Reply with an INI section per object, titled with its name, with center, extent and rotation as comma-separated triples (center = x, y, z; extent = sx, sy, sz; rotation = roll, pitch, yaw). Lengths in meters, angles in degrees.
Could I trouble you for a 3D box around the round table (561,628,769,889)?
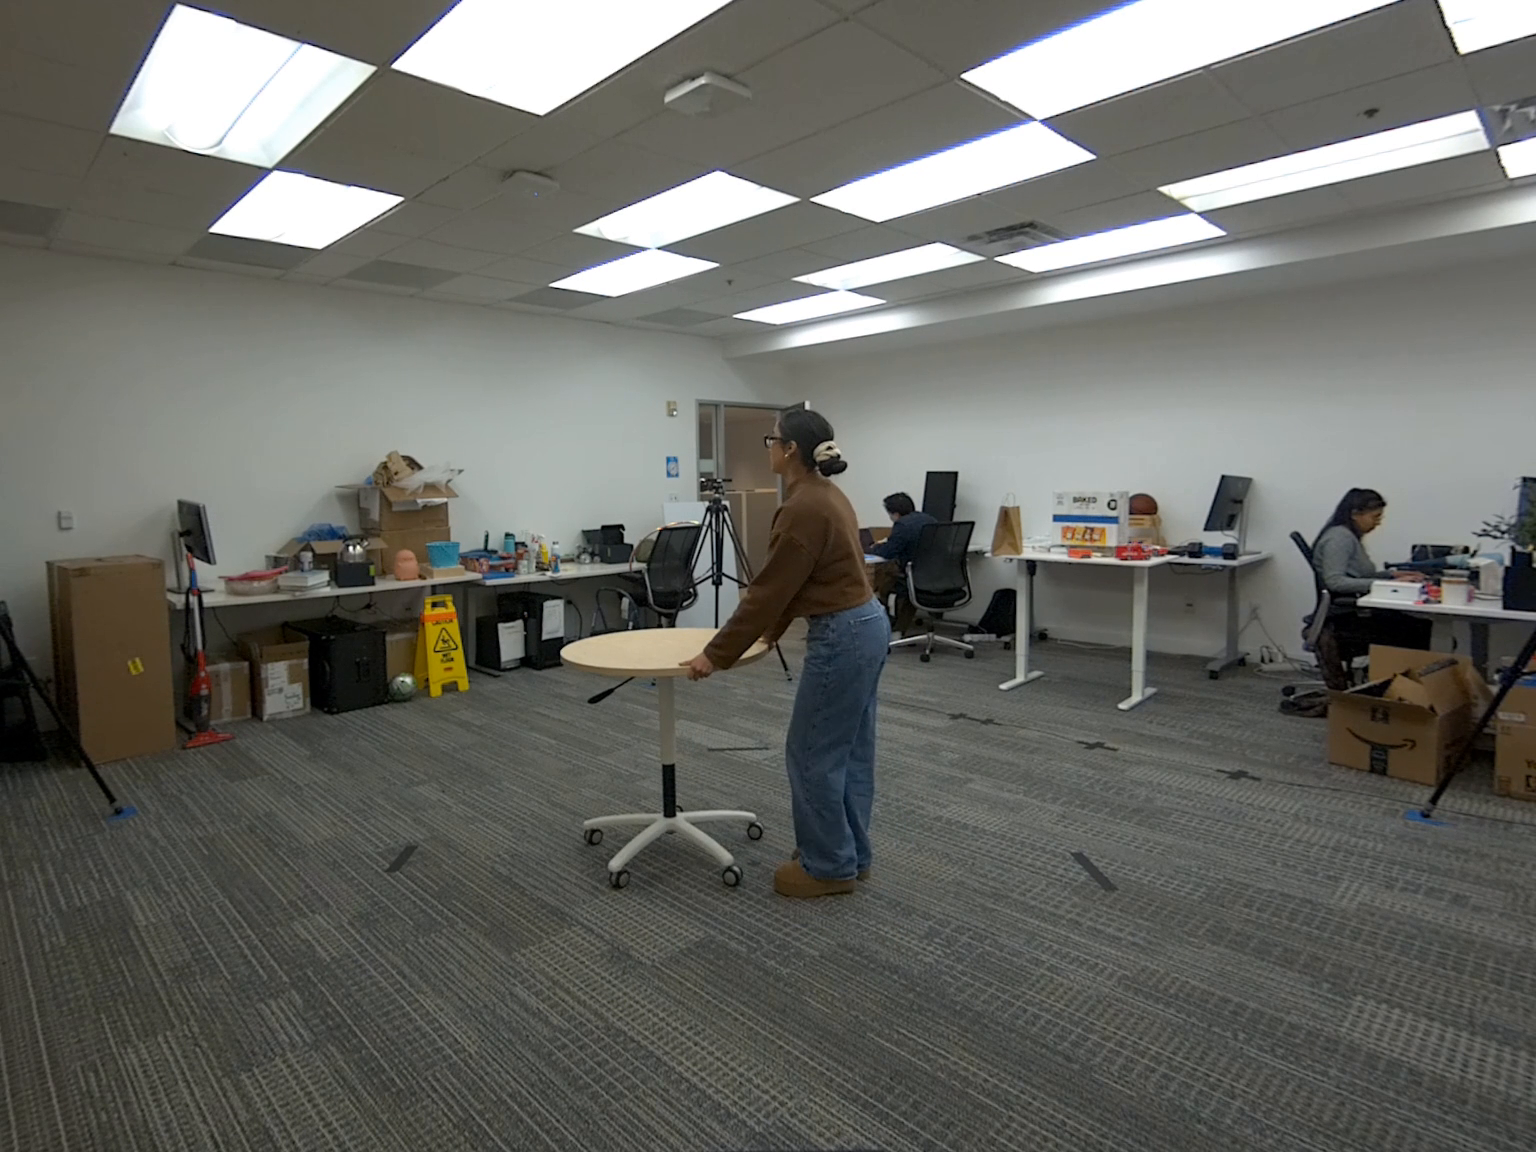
[round table]
center = -0.349, 0.647, 3.187
extent = 0.784, 0.783, 0.789
rotation = -2, 5, -1
